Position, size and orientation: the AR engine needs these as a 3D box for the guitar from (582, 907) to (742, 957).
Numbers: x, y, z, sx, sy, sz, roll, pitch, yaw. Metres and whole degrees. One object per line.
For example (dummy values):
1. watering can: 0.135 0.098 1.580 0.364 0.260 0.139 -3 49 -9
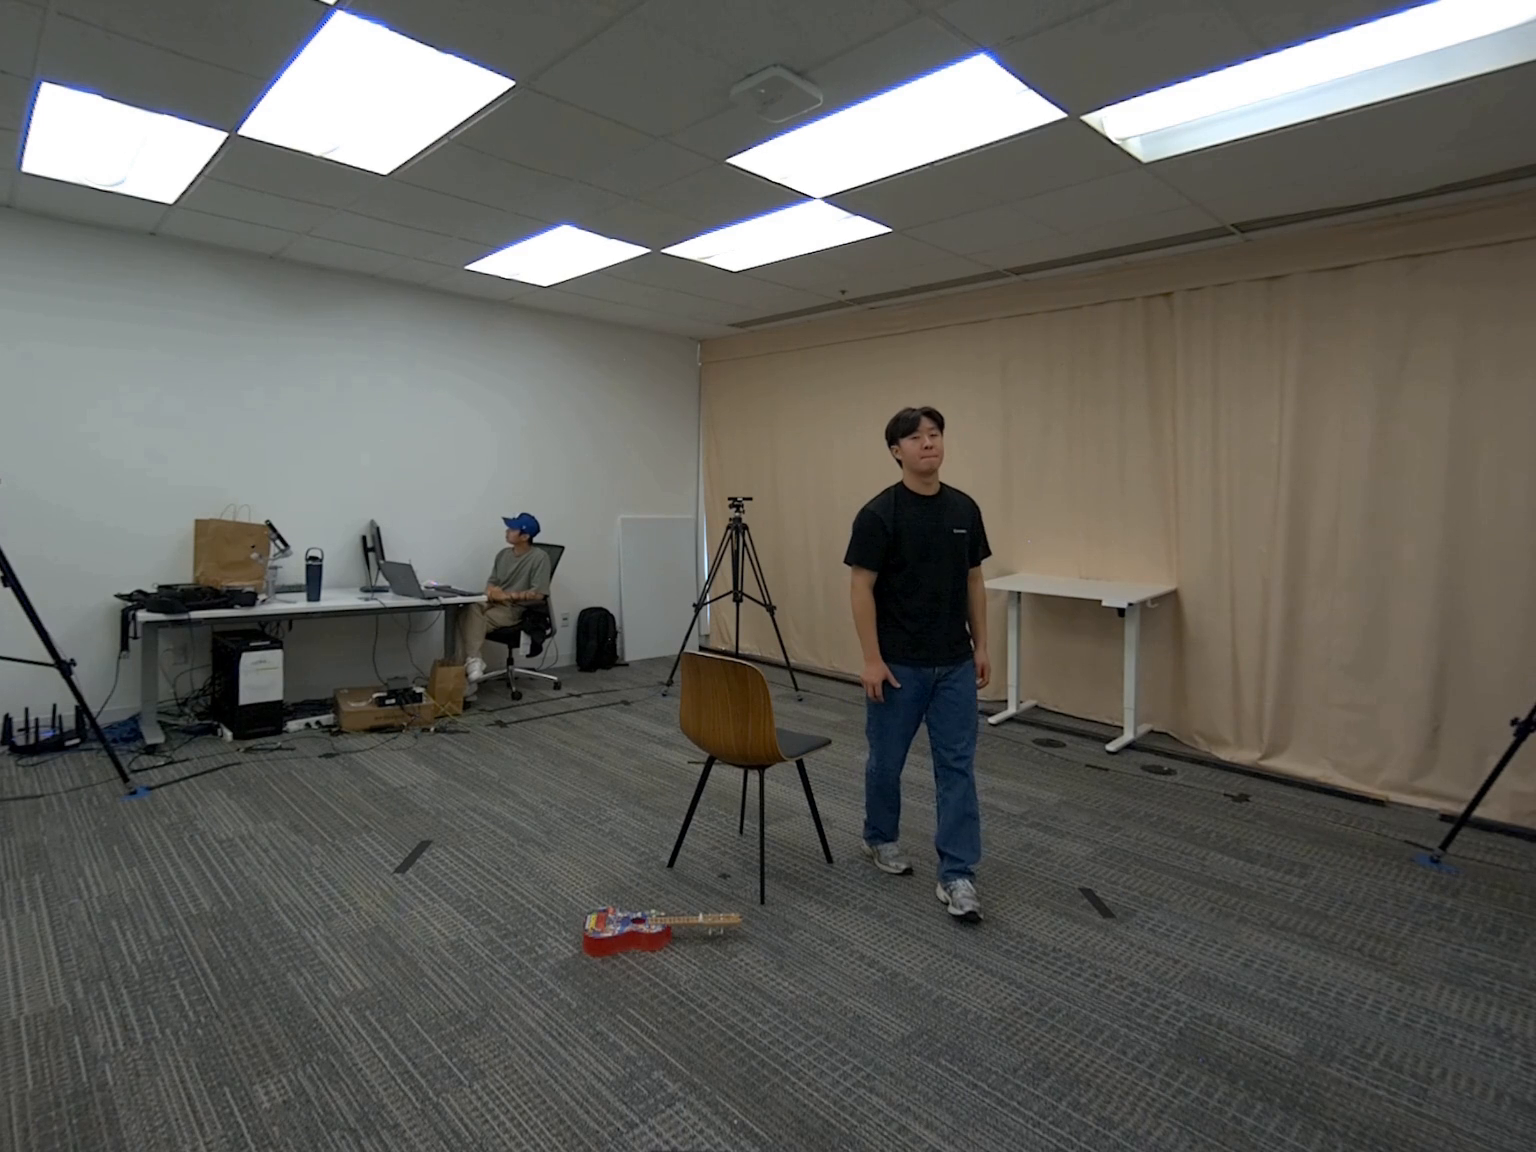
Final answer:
1. guitar: -0.340 1.112 2.618 0.500 0.070 0.193 1 4 4
